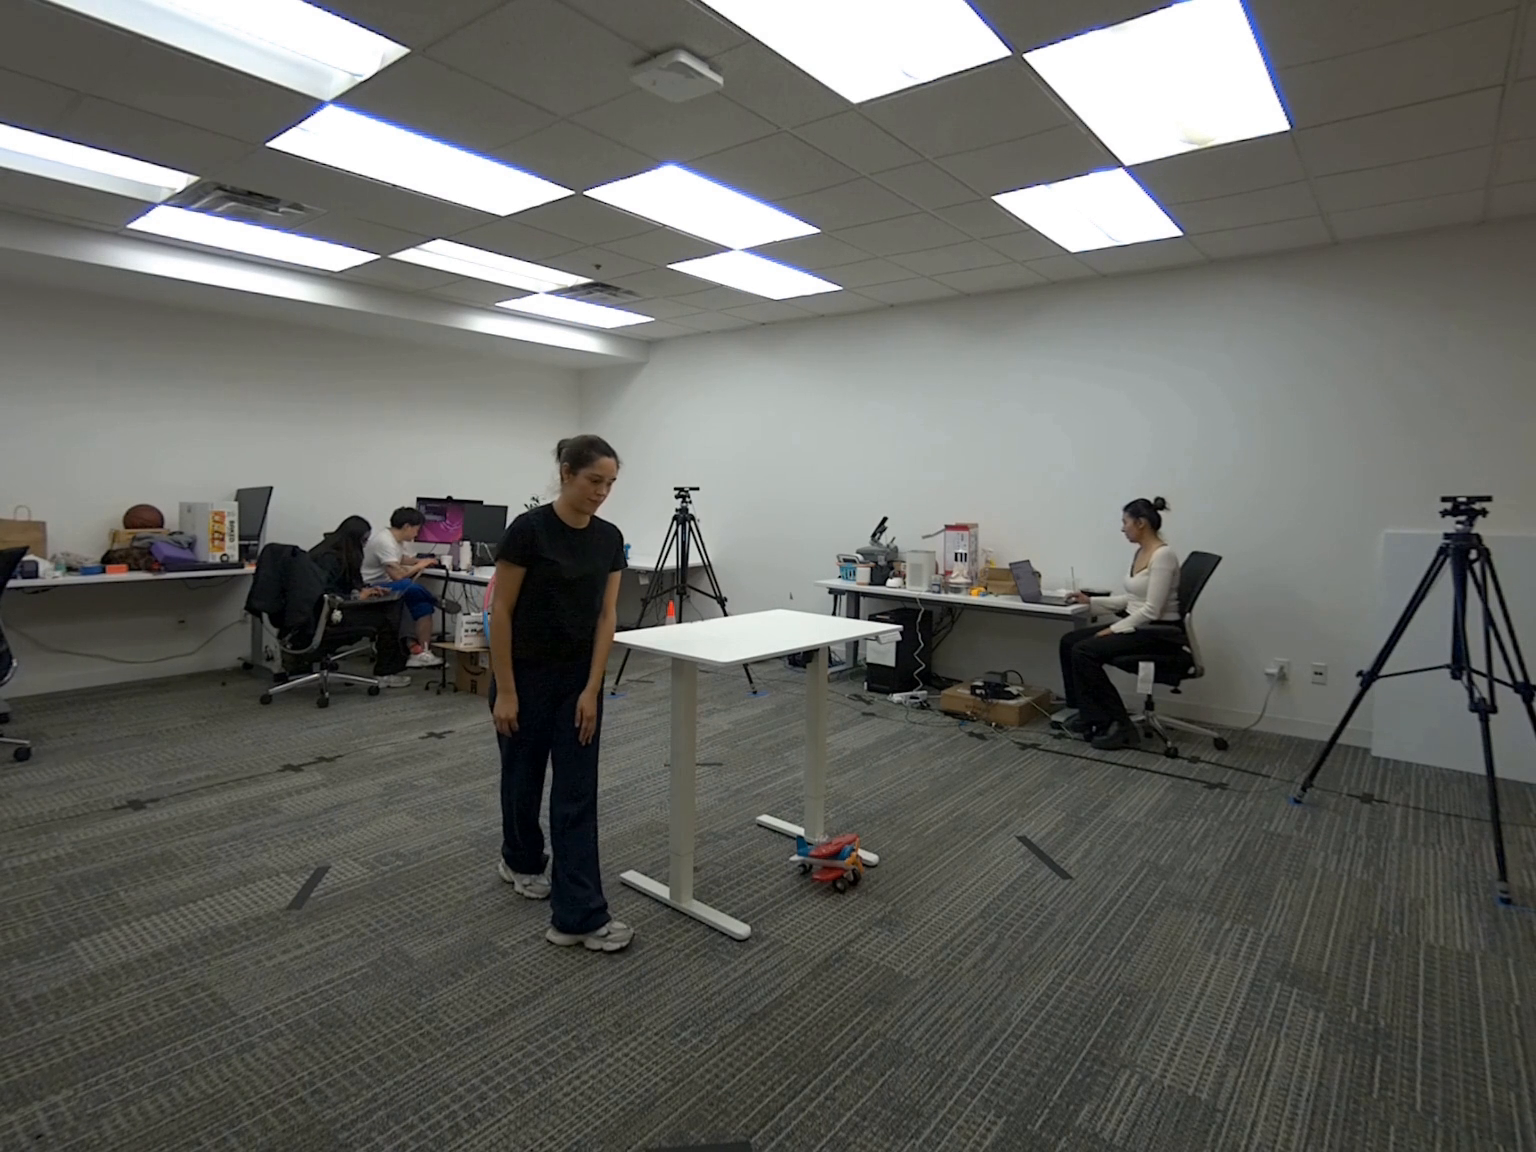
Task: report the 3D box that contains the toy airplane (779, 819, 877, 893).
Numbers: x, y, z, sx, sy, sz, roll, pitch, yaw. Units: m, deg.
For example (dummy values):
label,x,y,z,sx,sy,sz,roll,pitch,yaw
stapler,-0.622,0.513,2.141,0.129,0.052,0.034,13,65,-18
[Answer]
label,x,y,z,sx,sy,sz,roll,pitch,yaw
toy airplane,0.219,1.011,3.029,0.263,0.156,0.249,4,5,10
